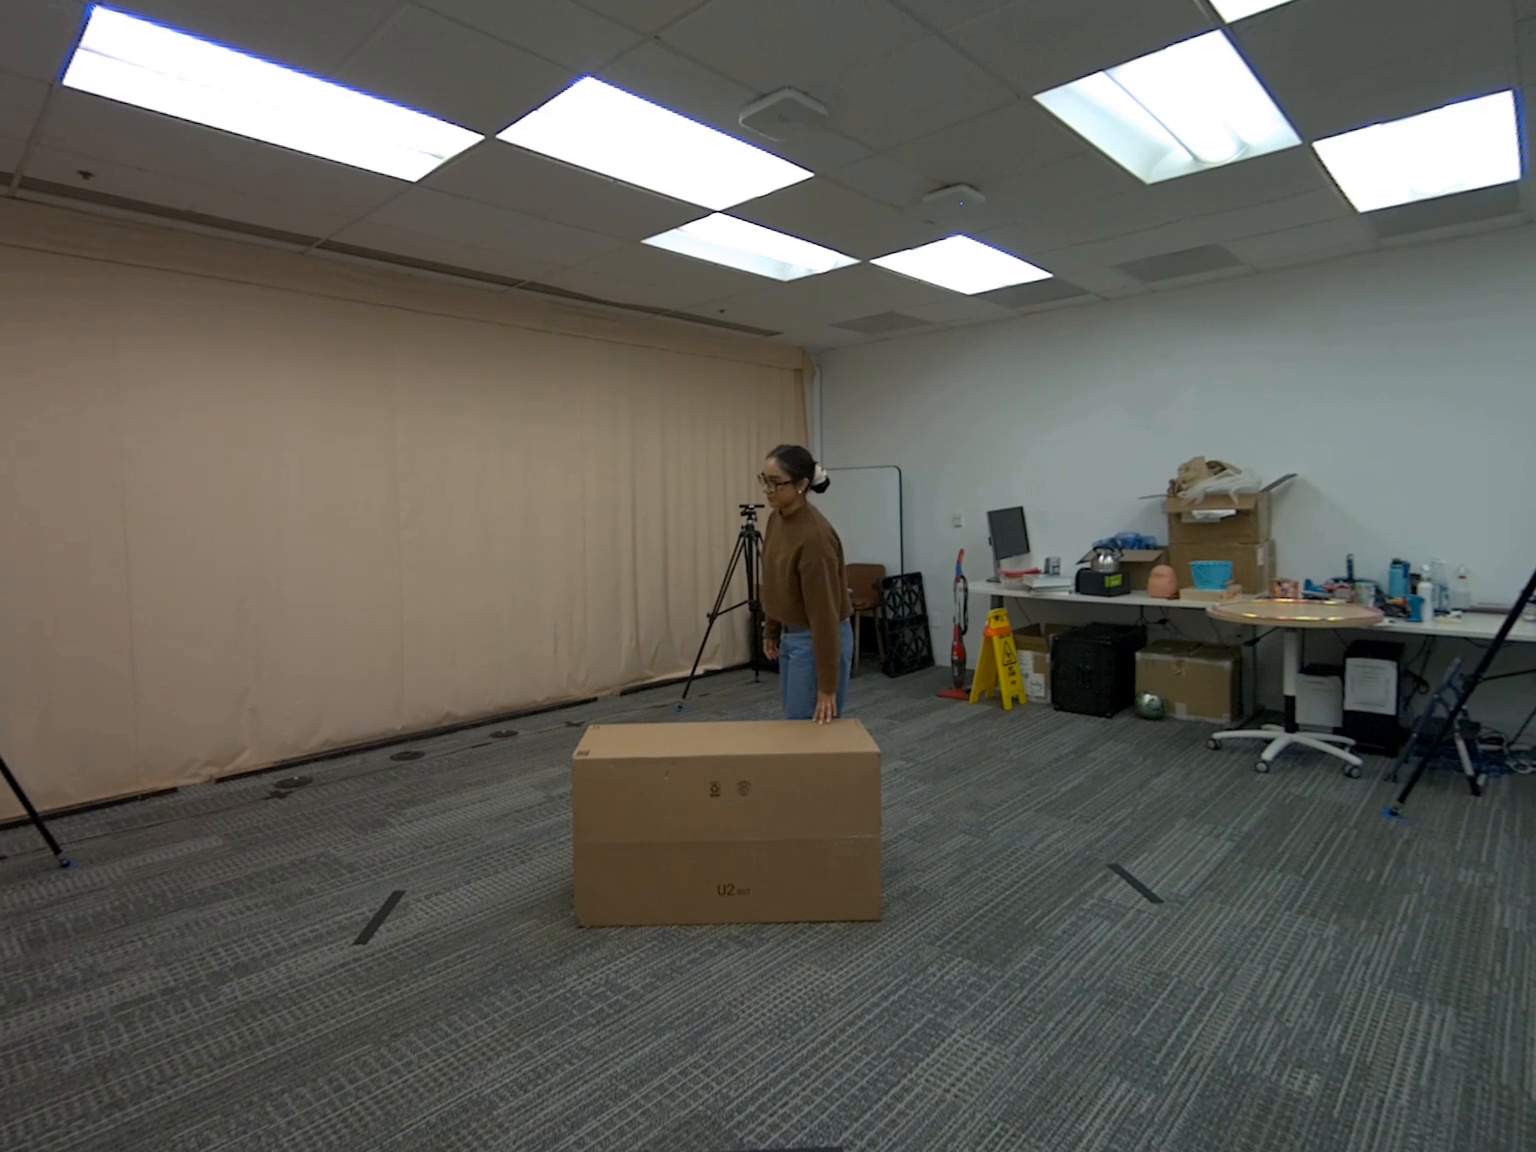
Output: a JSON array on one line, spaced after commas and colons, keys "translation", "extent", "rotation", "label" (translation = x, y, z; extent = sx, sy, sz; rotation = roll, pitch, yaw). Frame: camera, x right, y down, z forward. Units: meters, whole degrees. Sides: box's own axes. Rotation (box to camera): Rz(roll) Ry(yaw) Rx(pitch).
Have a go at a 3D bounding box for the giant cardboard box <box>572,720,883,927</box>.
[{"translation": [-0.155, 0.855, 2.988], "extent": [1.027, 0.582, 0.448], "rotation": [-1, 4, 0], "label": "giant cardboard box"}]
